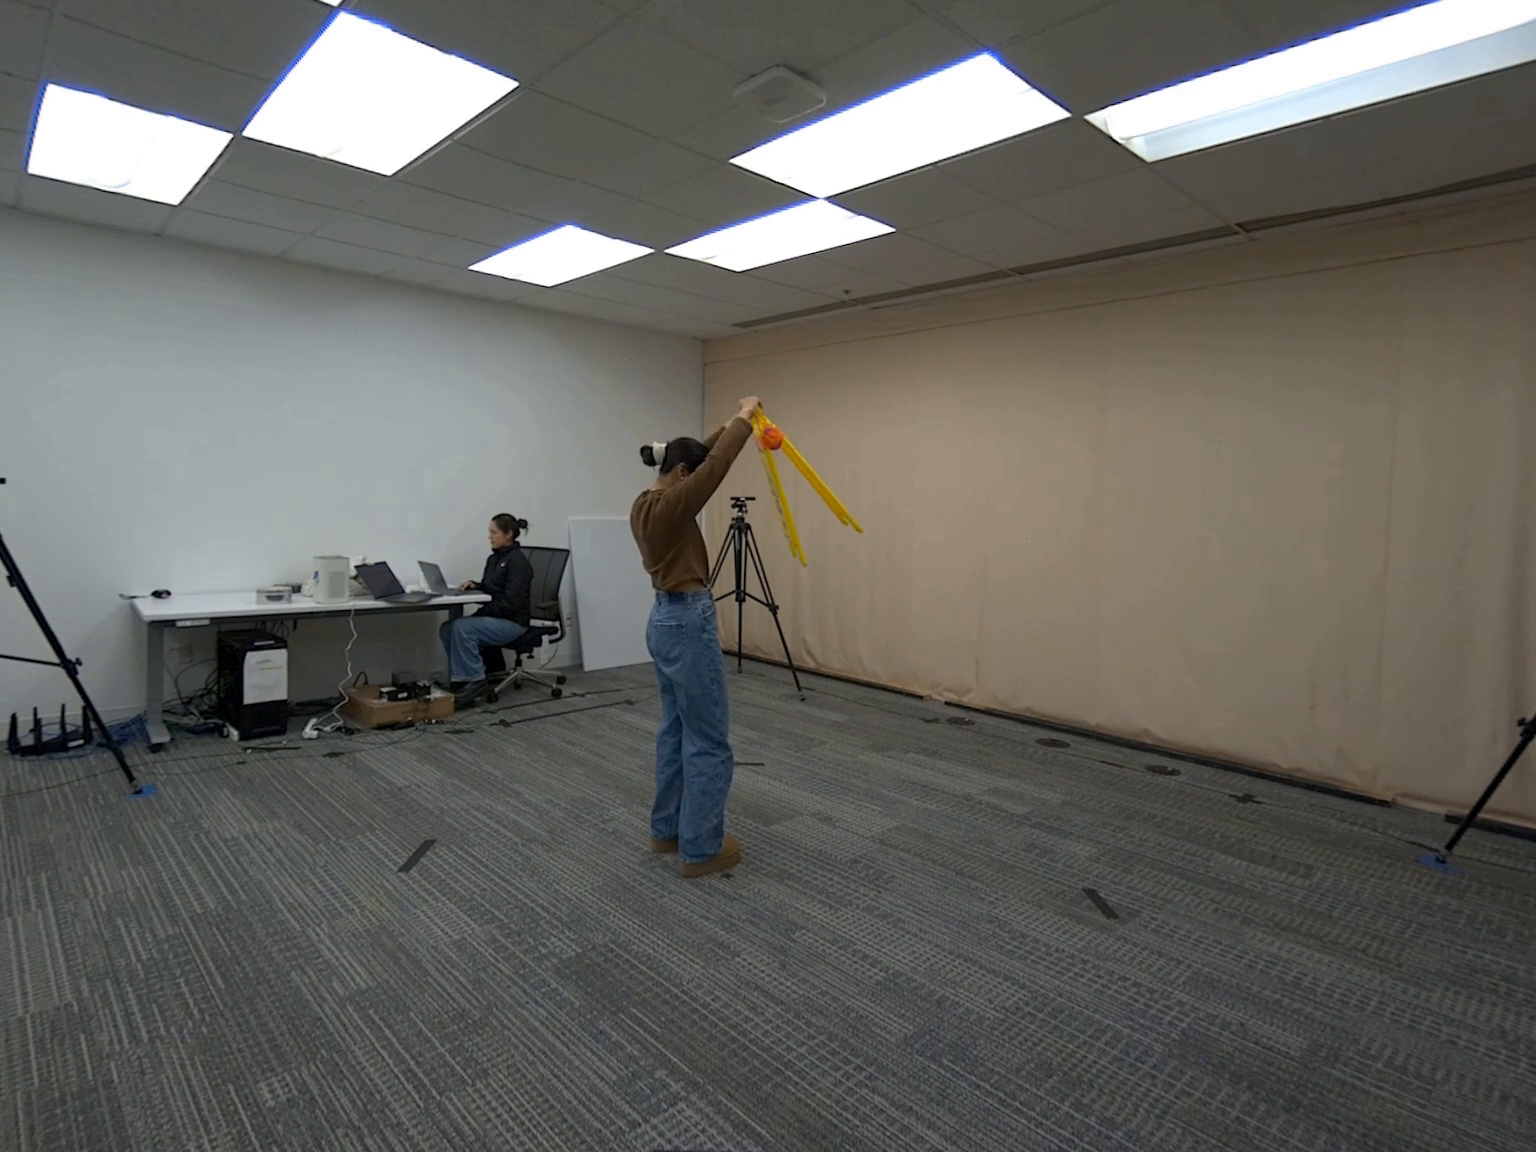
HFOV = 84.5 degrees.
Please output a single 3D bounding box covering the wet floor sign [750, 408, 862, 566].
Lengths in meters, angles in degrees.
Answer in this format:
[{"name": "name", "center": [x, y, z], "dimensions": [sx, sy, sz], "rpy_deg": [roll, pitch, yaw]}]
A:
[{"name": "wet floor sign", "center": [0.084, -0.397, 3.359], "dimensions": [0.289, 0.640, 0.285], "rpy_deg": [-28, 10, -1]}]
